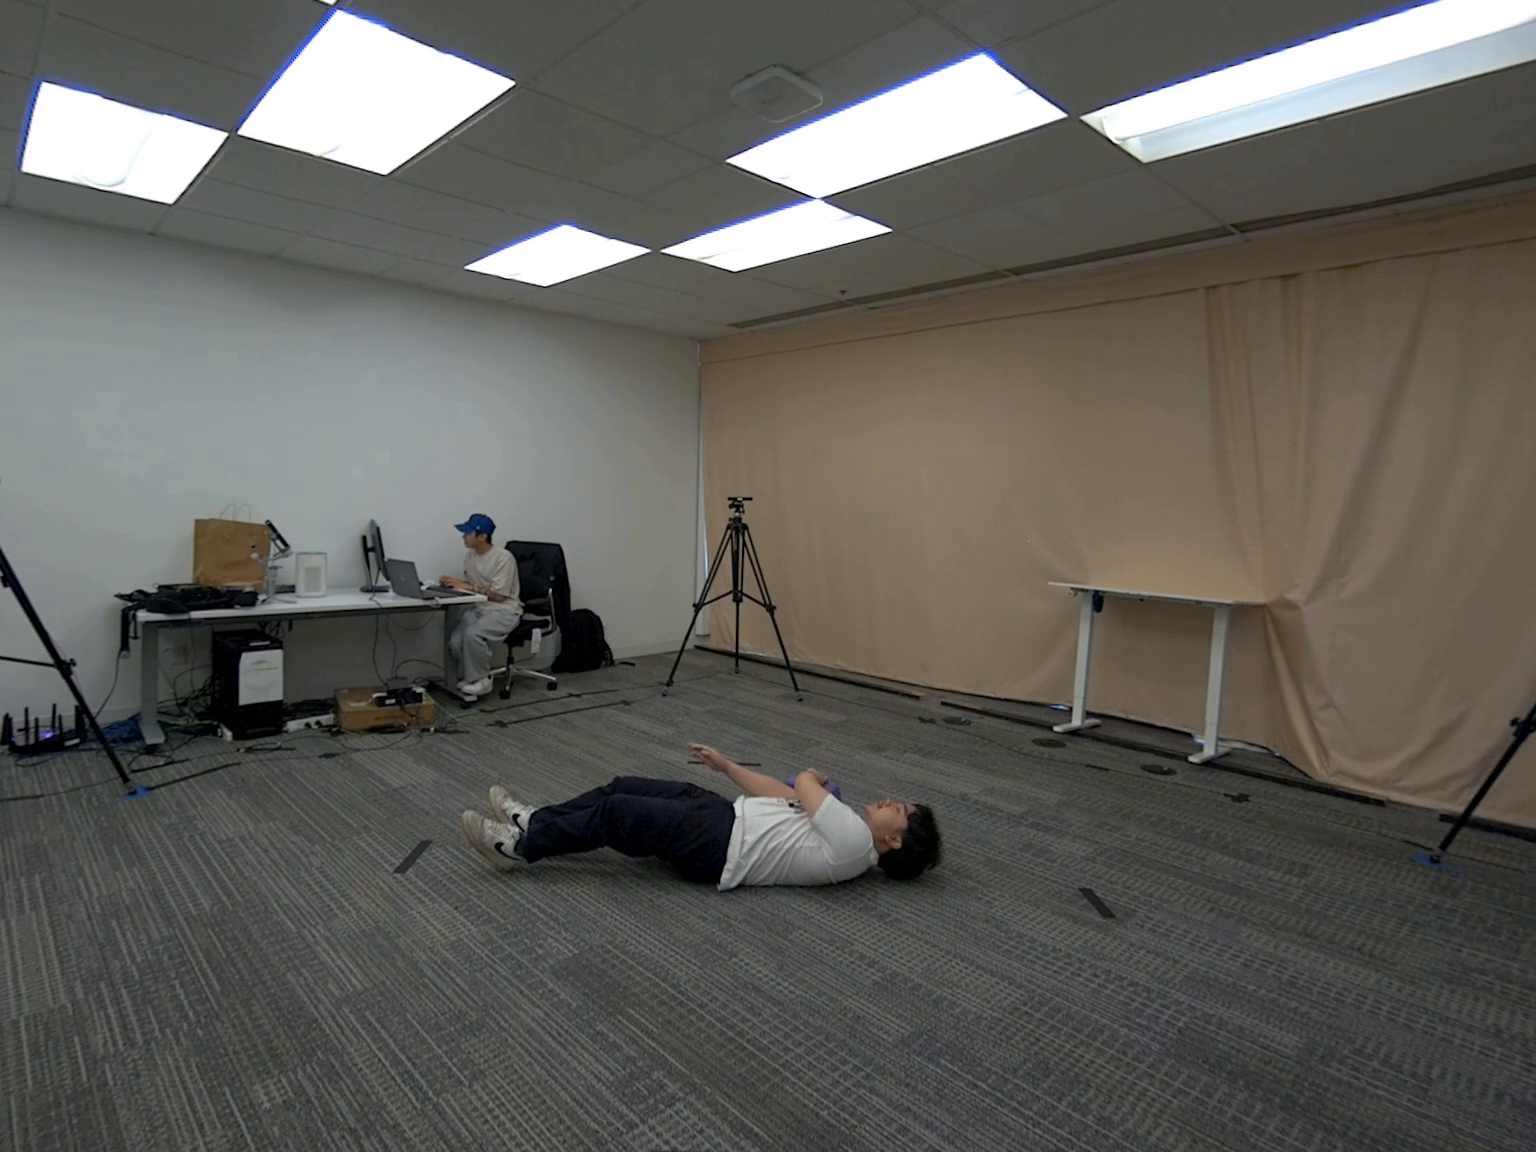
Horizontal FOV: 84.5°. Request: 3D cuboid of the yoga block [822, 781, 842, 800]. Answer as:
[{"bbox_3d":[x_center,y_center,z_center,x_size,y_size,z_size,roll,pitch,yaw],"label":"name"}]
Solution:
[{"bbox_3d":[0.179,0.916,3.466,0.234,0.147,0.075,0,15,38],"label":"yoga block"}]
